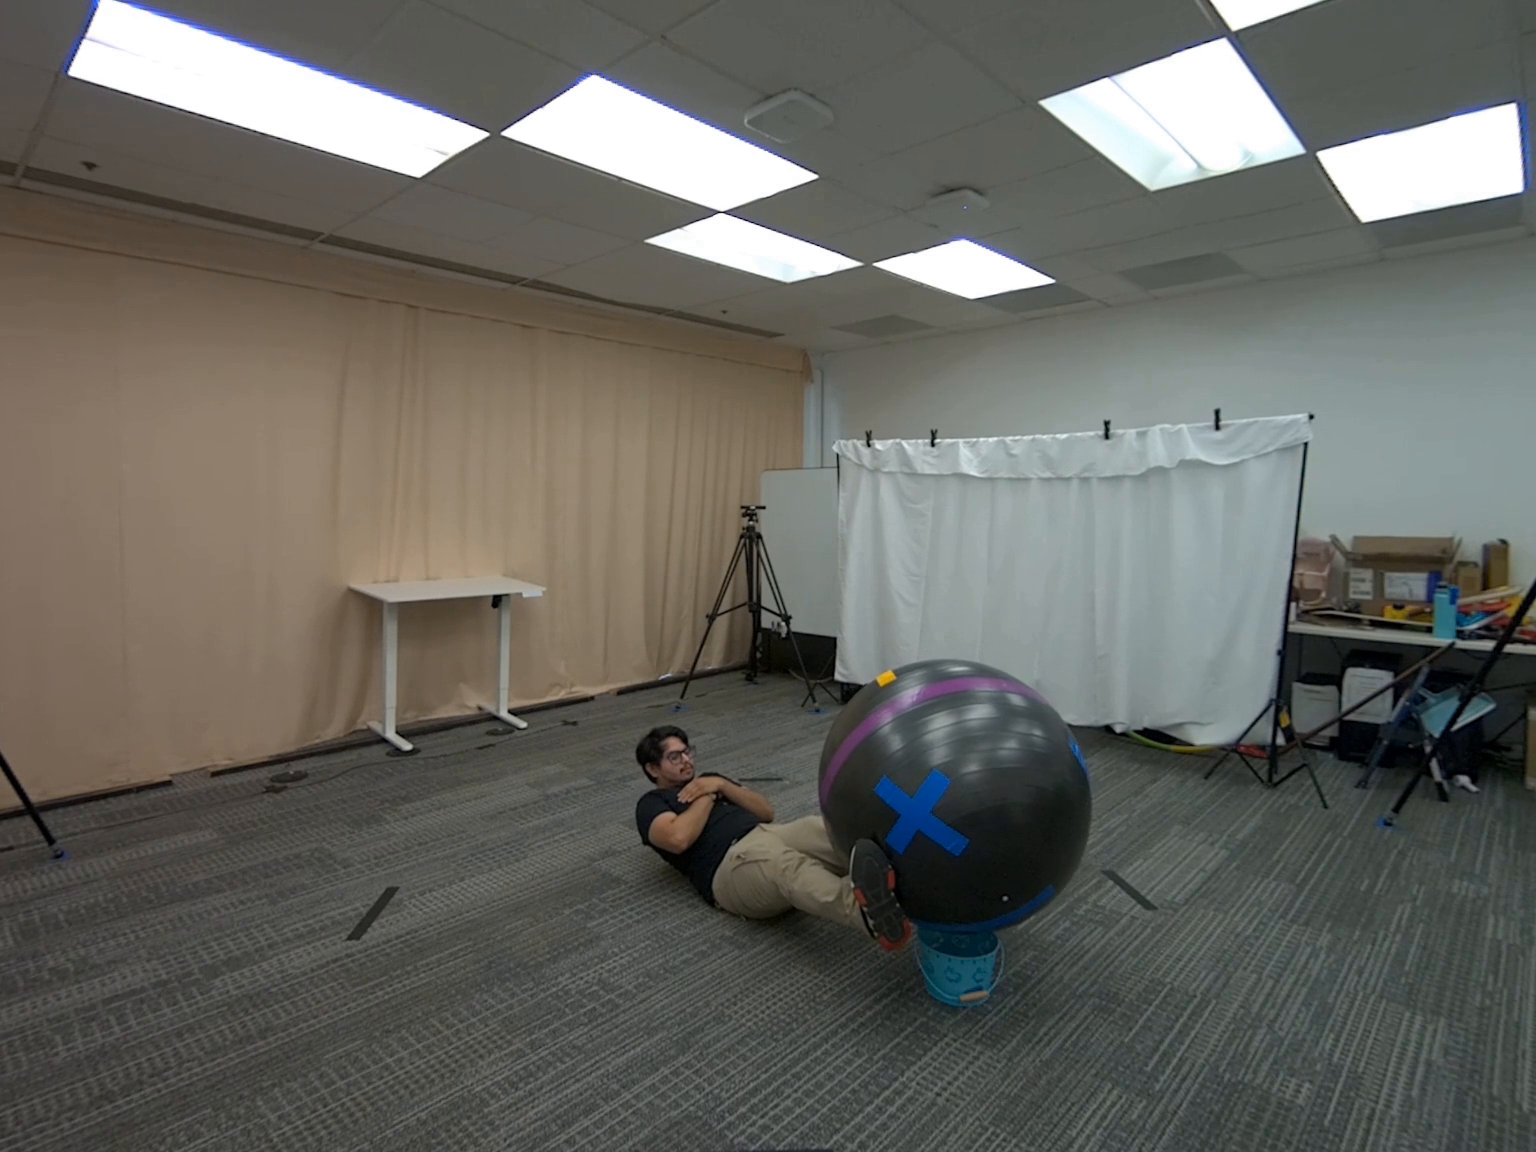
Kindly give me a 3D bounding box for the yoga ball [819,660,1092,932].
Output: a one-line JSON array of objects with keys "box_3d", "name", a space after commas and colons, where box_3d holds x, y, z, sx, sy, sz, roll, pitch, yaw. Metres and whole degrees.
[{"box_3d": [0.532, 0.626, 2.441, 0.757, 0.756, 0.760, 0, 4, -2], "name": "yoga ball"}]
